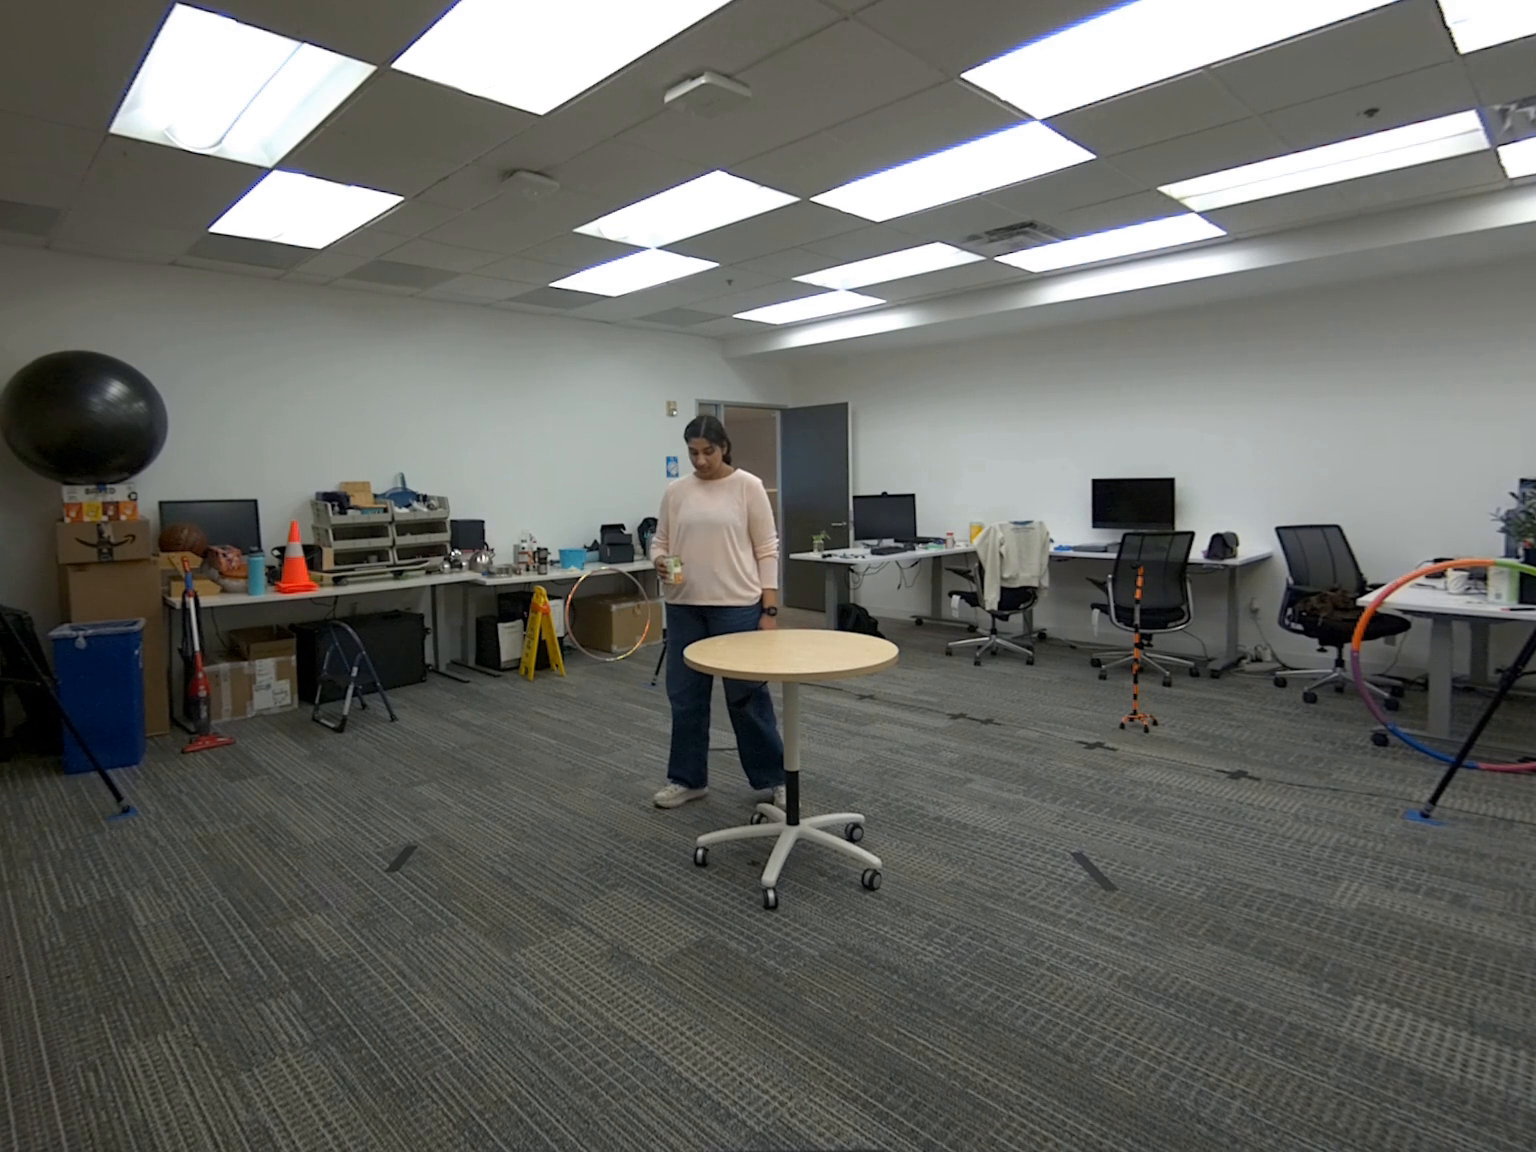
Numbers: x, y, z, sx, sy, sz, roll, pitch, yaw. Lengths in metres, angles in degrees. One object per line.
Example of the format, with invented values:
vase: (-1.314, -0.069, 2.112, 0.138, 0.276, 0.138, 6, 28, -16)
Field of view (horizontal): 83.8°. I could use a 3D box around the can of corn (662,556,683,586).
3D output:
can of corn: (-0.397, -0.021, 3.418, 0.074, 0.111, 0.074, -4, 3, -1)
